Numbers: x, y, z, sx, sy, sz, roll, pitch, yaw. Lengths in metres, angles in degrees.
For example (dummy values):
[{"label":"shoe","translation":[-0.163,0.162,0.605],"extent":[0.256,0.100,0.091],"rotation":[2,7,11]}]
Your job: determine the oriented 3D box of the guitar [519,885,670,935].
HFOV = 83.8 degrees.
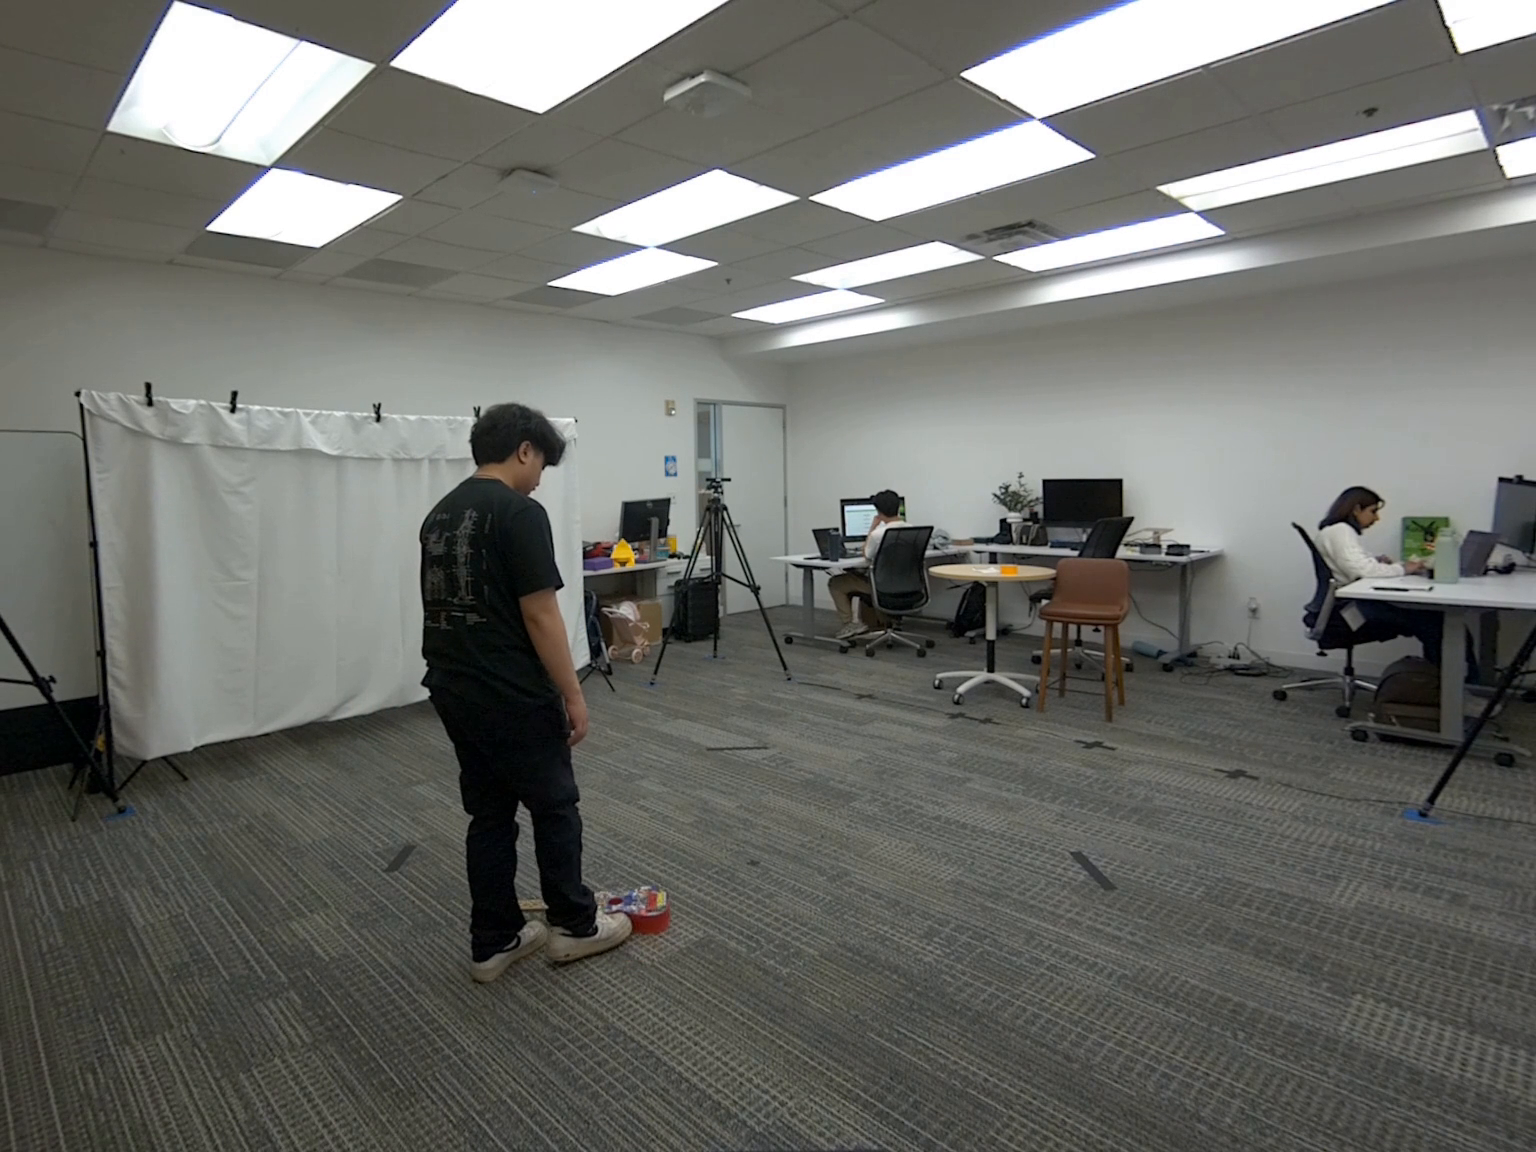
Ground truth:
[{"label":"guitar","translation":[-0.558,1.061,2.743],"extent":[0.500,0.070,0.193],"rotation":[0,7,5]}]
